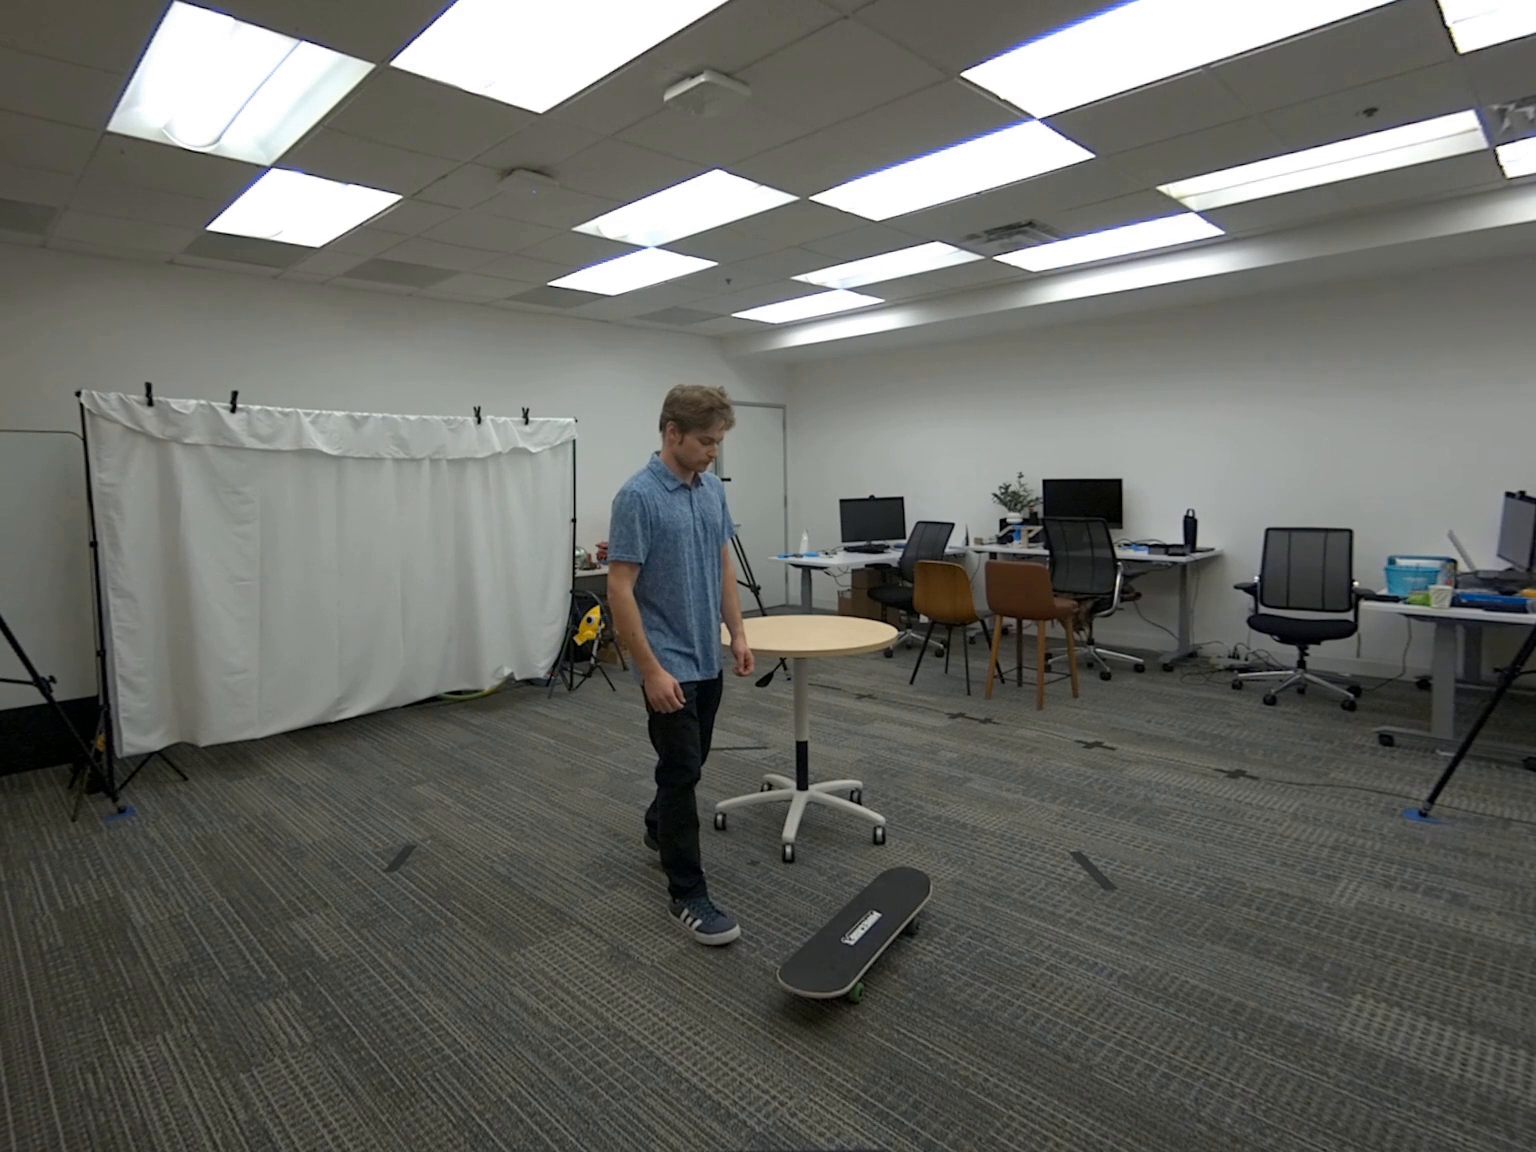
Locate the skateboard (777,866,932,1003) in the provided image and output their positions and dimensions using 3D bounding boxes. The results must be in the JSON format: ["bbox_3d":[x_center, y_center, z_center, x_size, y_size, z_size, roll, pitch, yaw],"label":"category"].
[{"bbox_3d":[0.278,1.048,2.484,0.199,0.110,0.768,2,8,31],"label":"skateboard"}]
